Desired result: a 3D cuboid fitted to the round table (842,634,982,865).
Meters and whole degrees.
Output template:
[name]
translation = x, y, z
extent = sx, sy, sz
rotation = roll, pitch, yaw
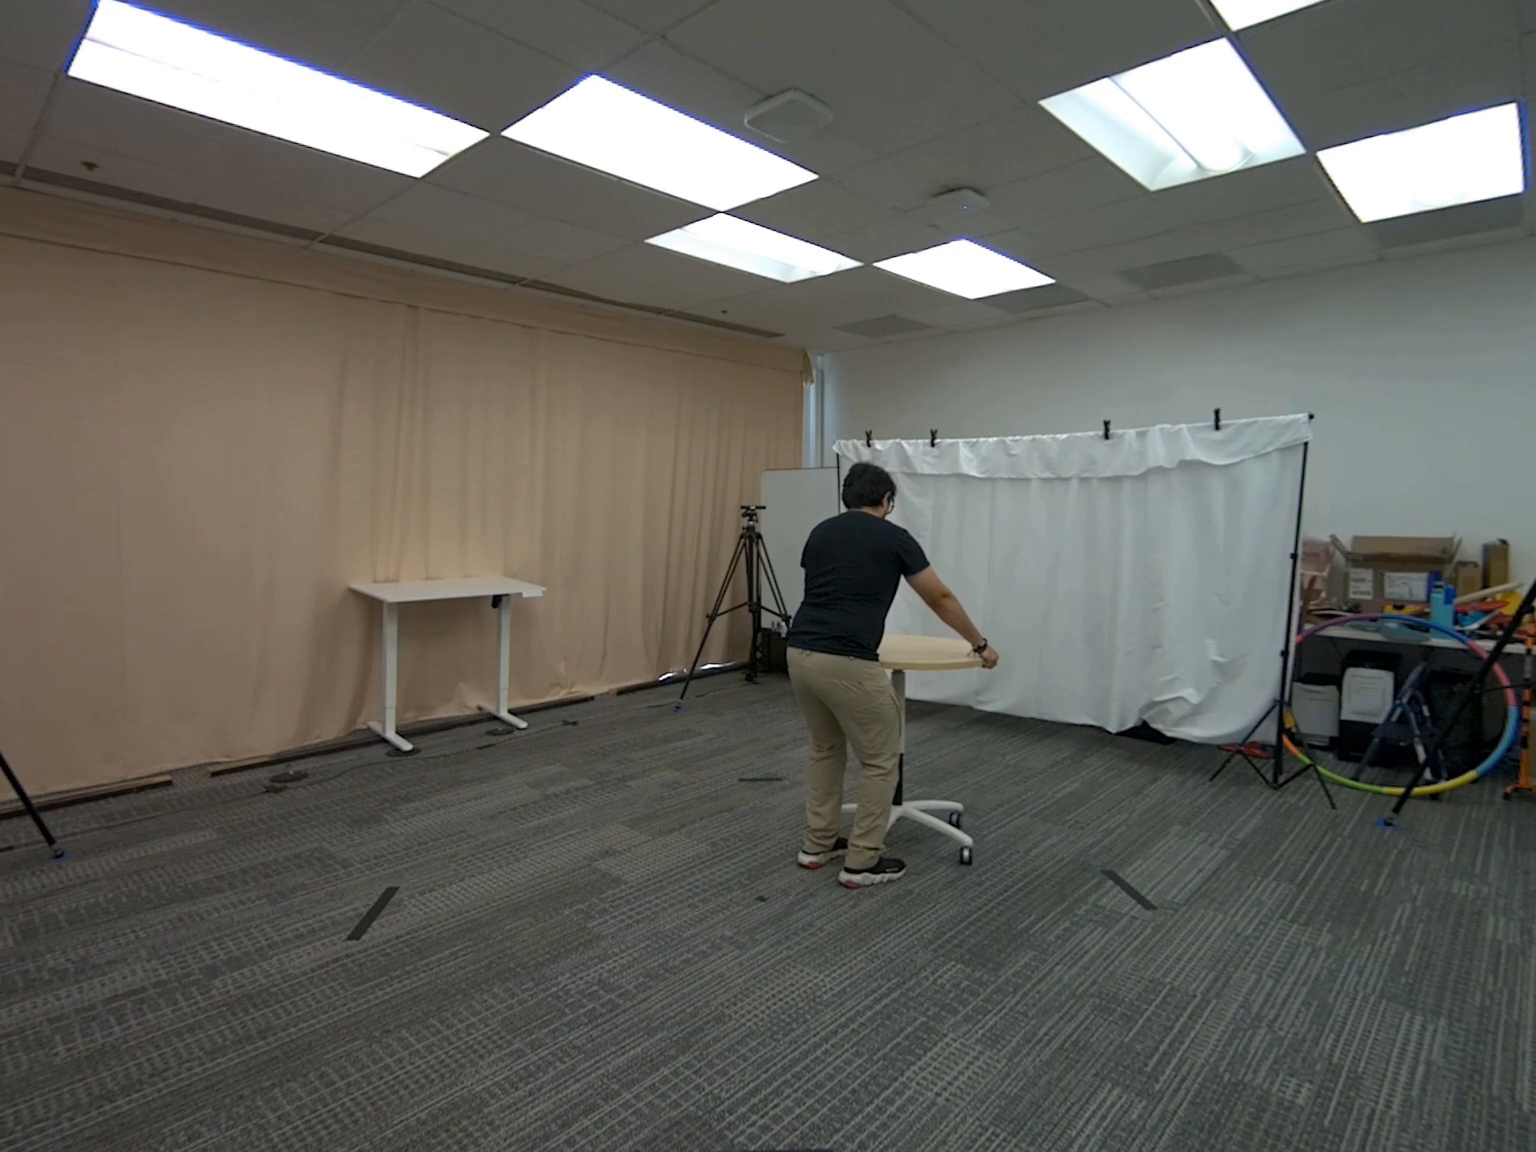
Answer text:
[round table]
translation = 0.534, 0.690, 3.530
extent = 0.784, 0.785, 0.787
rotation = 0, 3, -2
